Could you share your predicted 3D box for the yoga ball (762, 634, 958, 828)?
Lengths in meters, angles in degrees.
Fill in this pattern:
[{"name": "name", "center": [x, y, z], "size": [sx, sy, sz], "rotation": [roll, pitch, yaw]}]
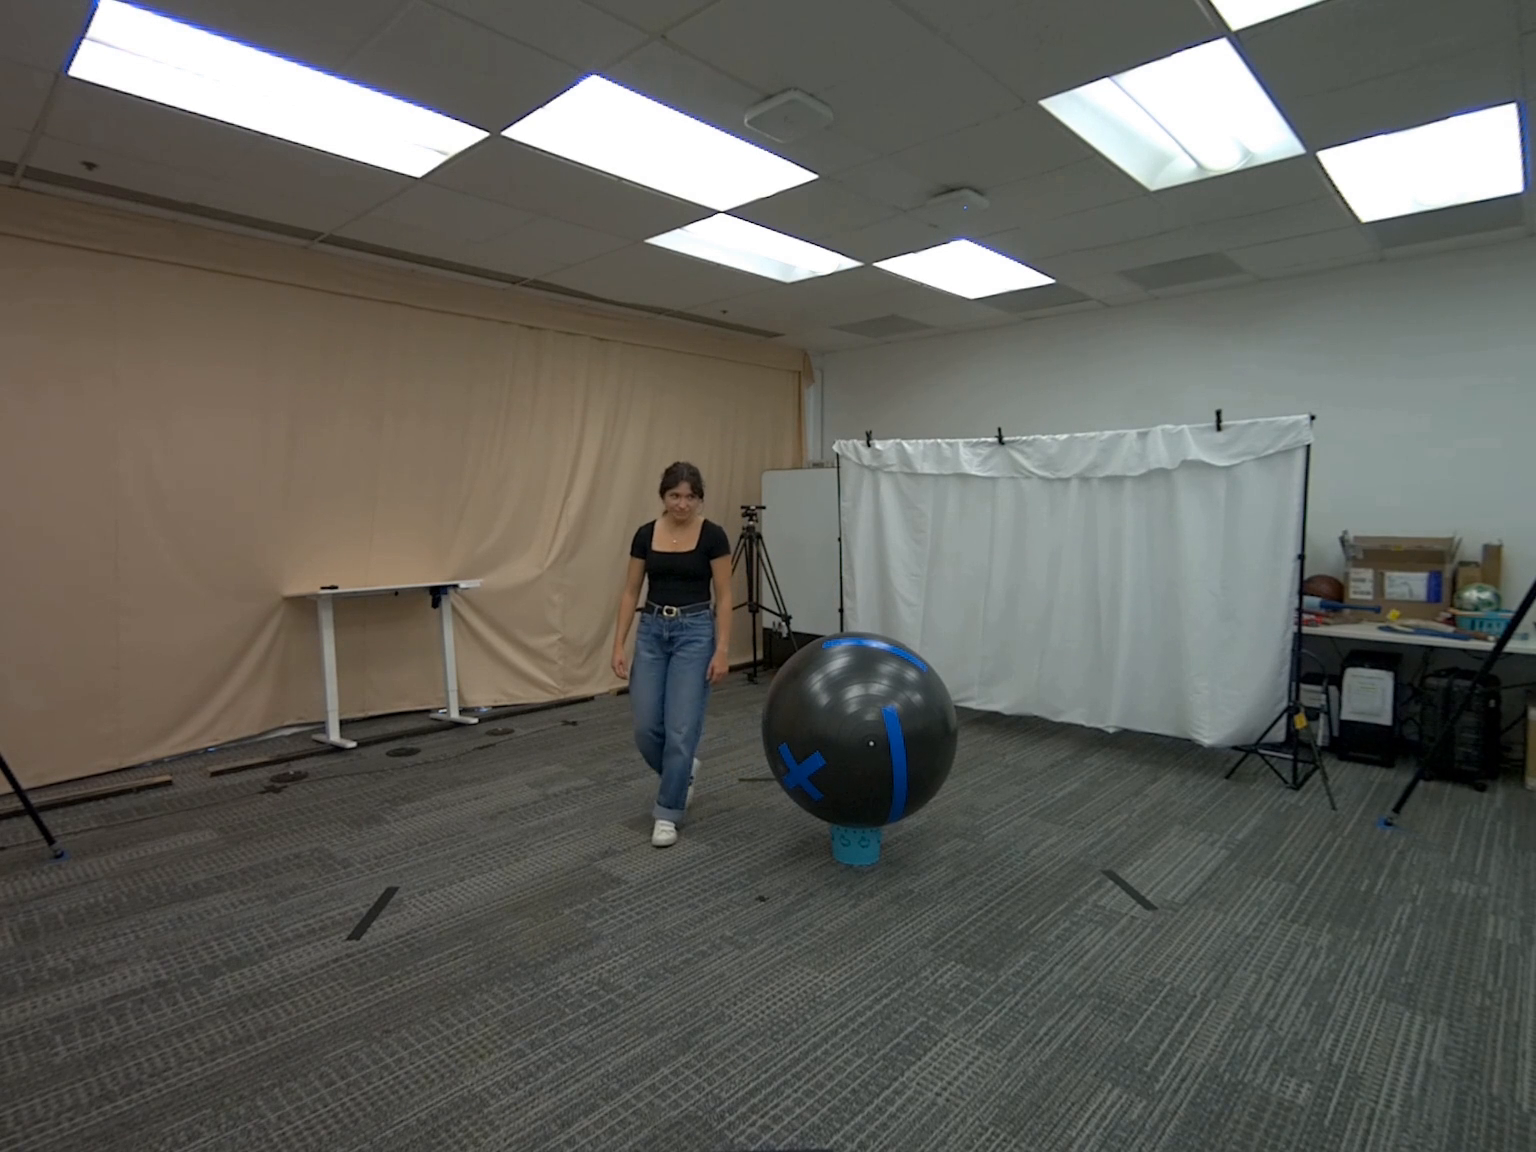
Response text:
[{"name": "yoga ball", "center": [0.358, 0.601, 3.335], "size": [0.757, 0.756, 0.760], "rotation": [0, 4, -2]}]
